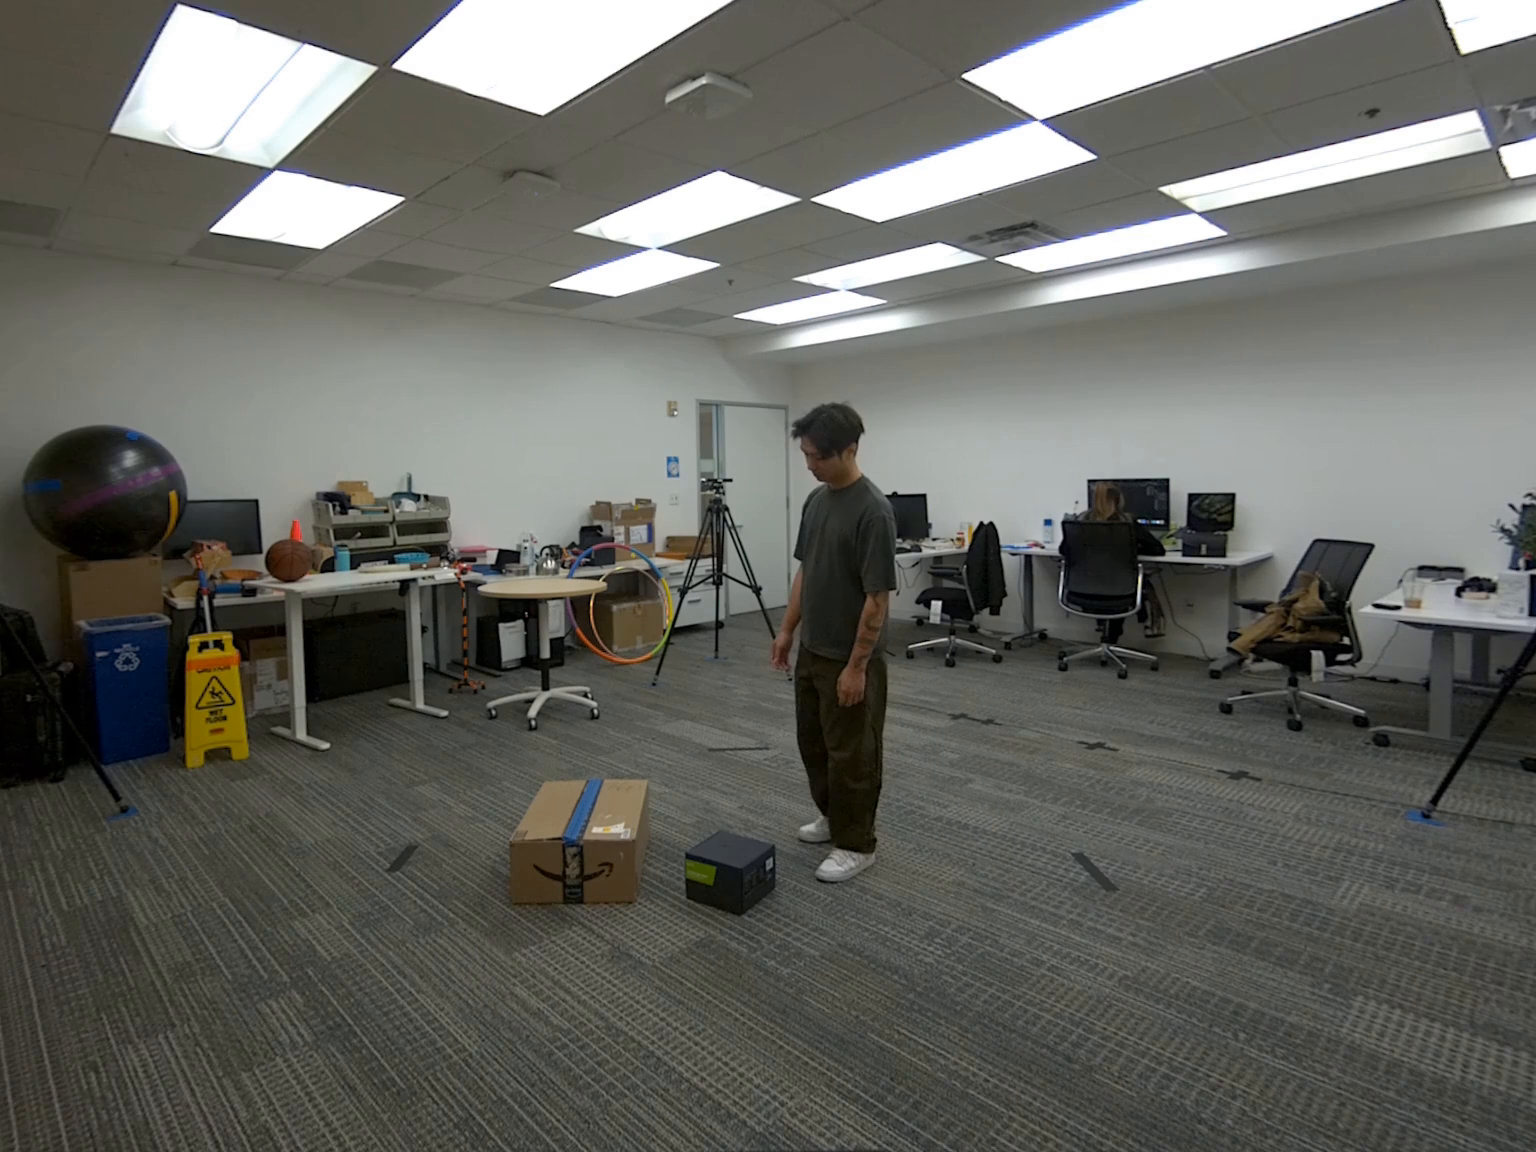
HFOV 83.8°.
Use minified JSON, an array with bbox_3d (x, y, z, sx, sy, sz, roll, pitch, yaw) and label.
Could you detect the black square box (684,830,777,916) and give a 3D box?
[{"bbox_3d":[-0.123,0.990,2.877,0.234,0.155,0.212,3,7,32],"label":"black square box"}]
